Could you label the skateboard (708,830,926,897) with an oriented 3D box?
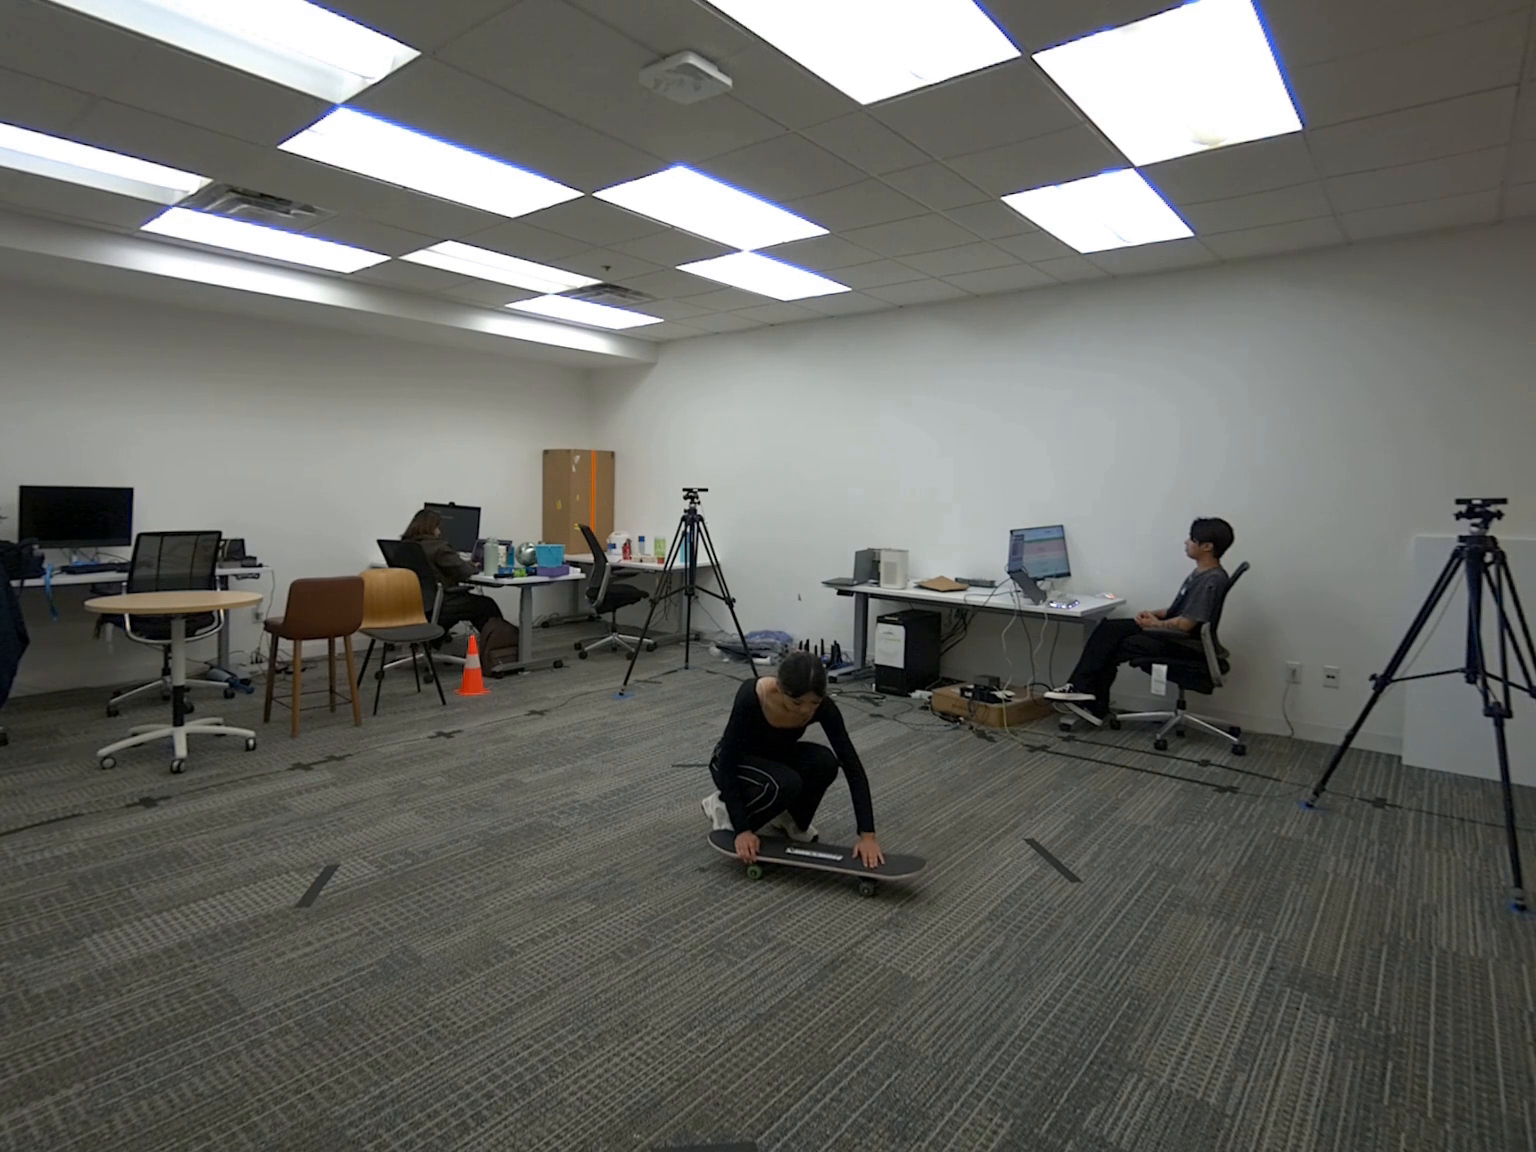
[{"bbox_3d":[0.155,1.025,3.060,0.798,0.110,0.191,3,5,14],"label":"skateboard"}]
